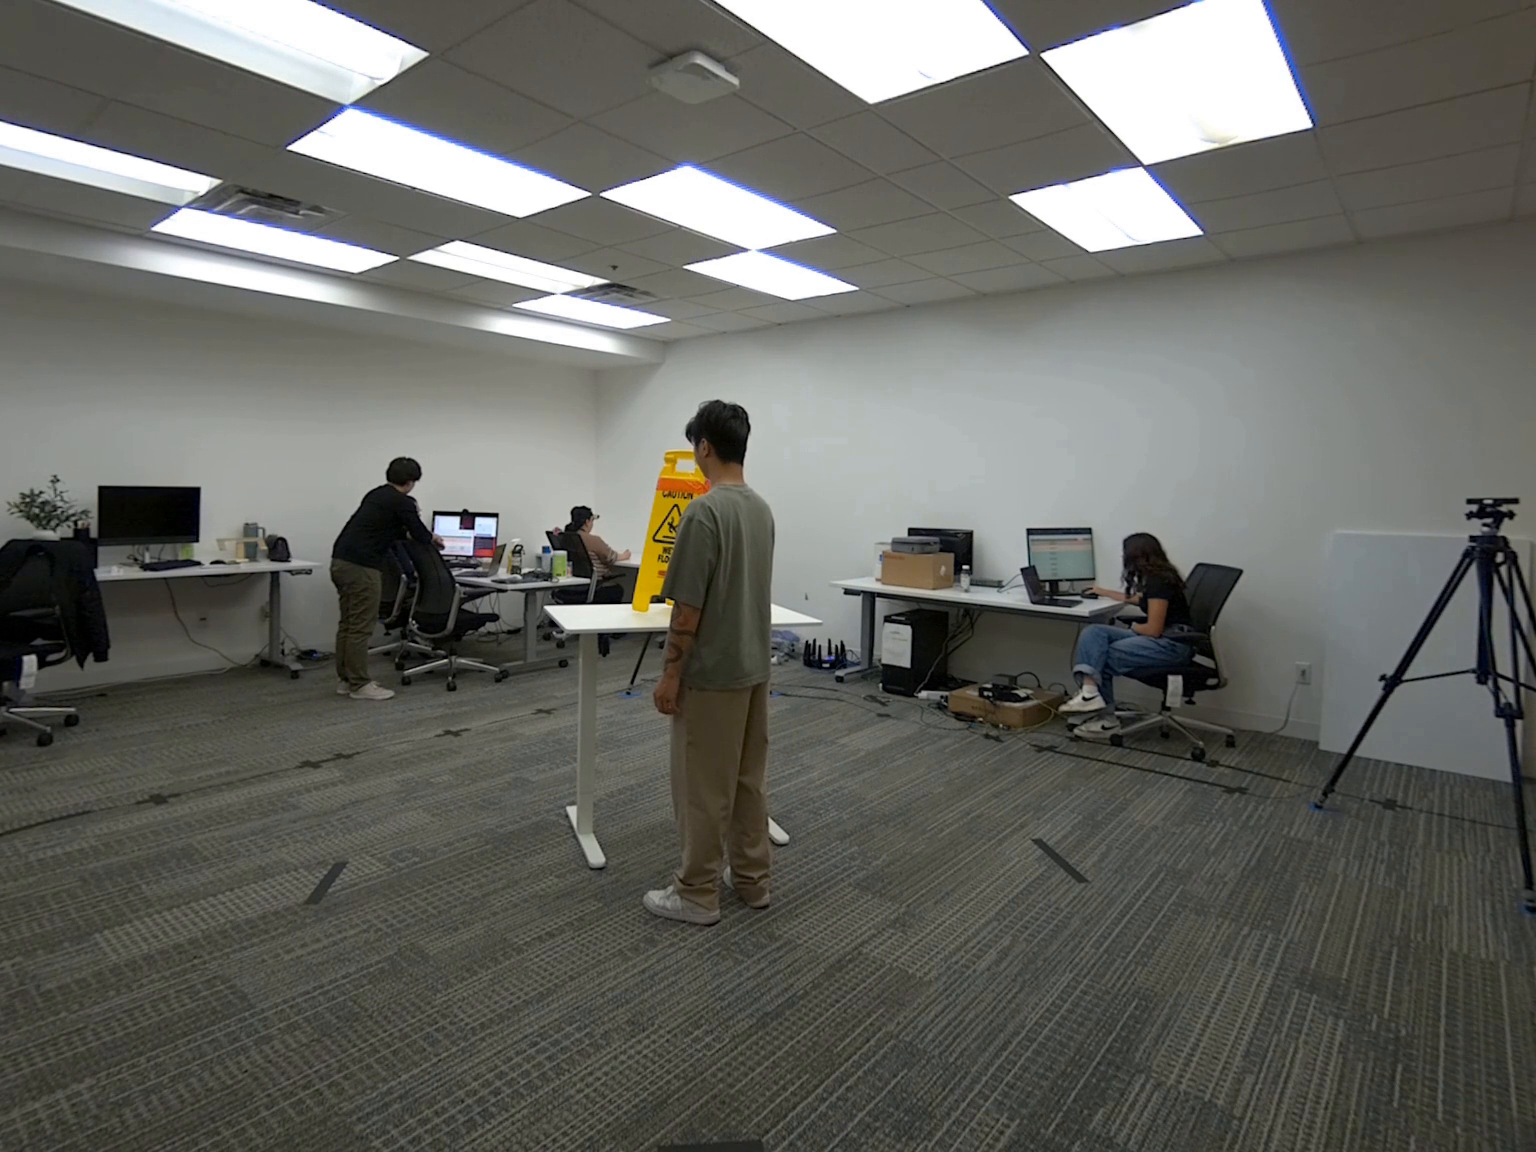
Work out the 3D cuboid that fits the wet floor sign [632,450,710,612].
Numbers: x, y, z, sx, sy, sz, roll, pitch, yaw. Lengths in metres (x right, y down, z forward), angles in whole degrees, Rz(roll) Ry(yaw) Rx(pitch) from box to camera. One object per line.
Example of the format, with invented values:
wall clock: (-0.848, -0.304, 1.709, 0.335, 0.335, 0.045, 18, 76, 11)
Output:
wet floor sign: (-0.358, -0.183, 3.428, 0.291, 0.643, 0.282, 7, 5, 31)
